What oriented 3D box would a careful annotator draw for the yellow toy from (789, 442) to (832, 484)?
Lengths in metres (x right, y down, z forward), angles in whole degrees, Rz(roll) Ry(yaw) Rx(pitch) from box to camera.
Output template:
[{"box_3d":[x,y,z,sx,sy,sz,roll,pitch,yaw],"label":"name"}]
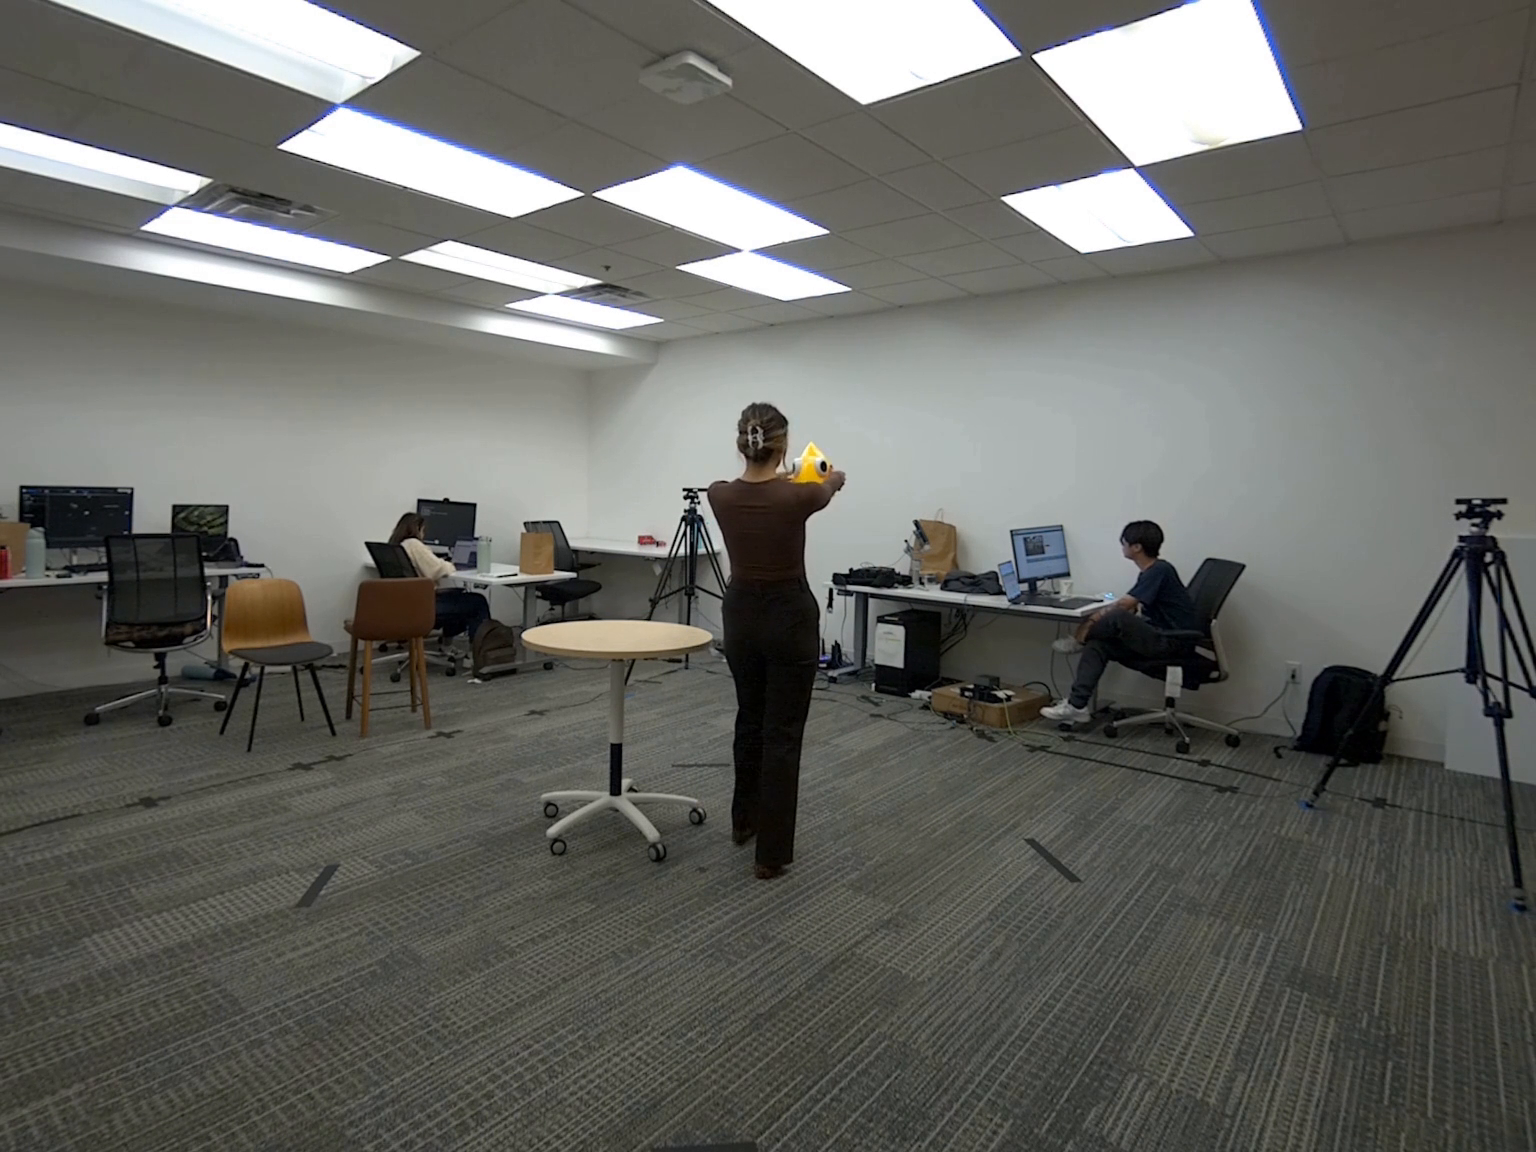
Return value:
[{"box_3d":[0.168,-0.453,3.603,0.208,0.228,0.192,0,13,17],"label":"yellow toy"}]
